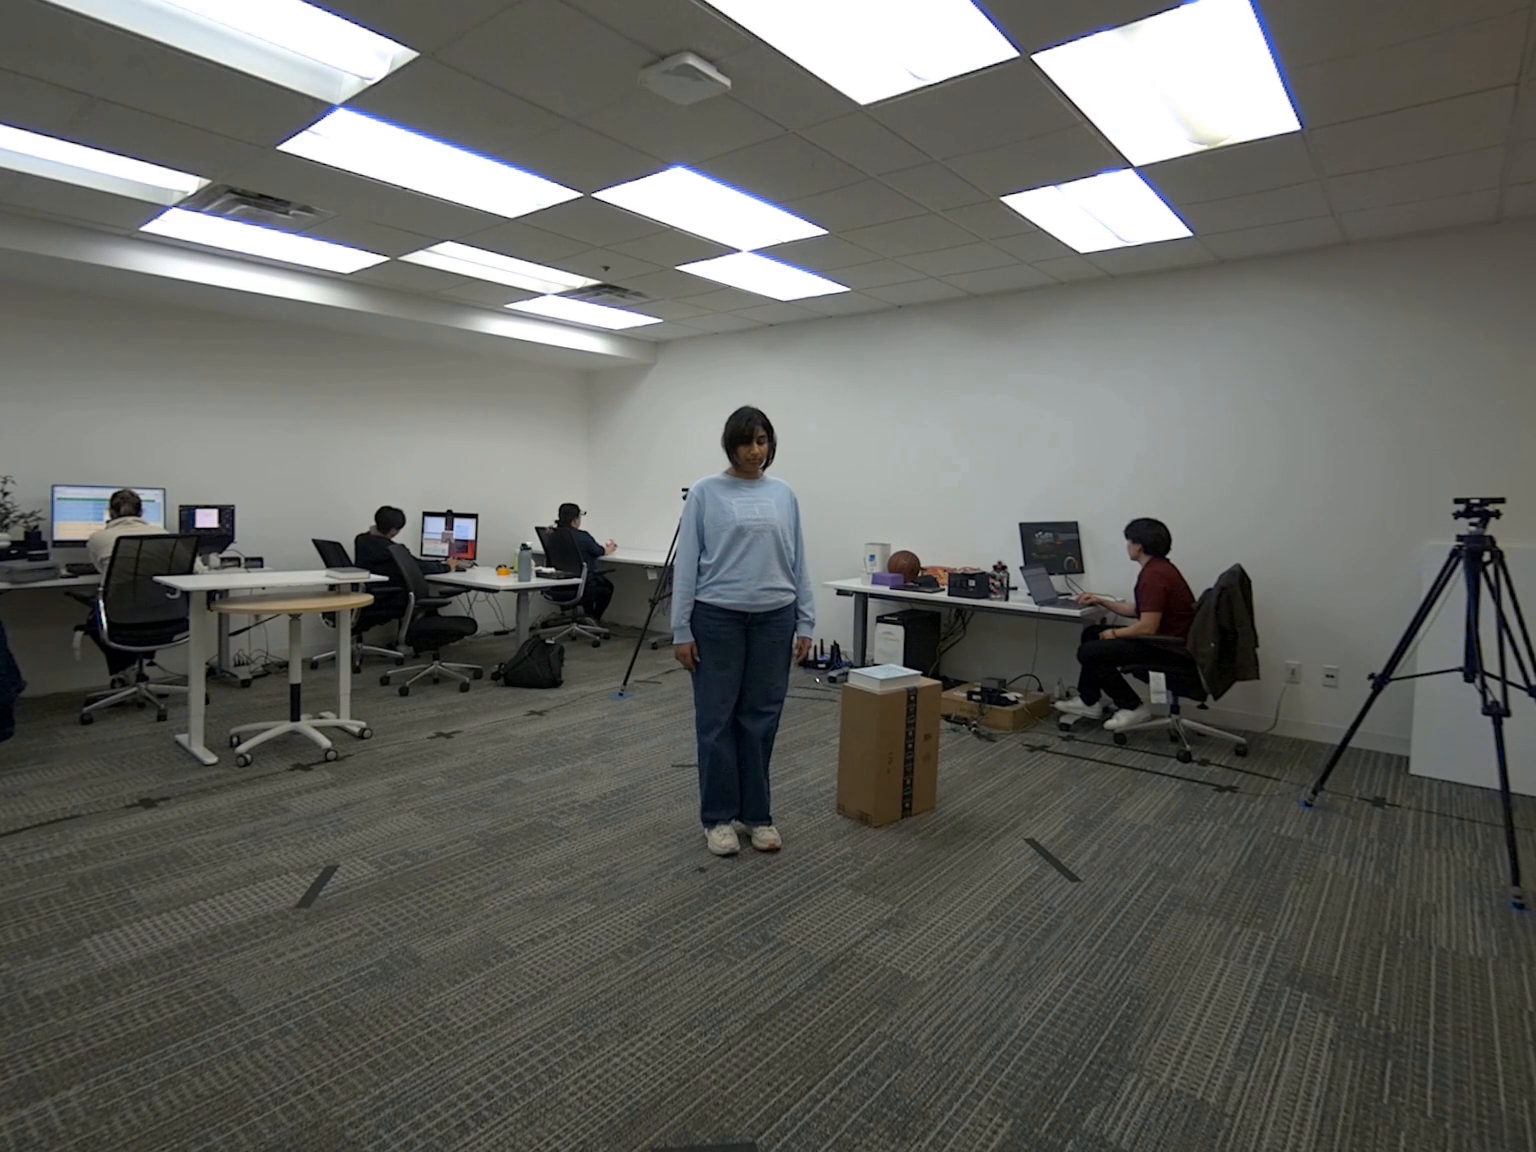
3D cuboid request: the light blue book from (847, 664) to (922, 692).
[{"bbox_3d":[0.495,0.432,3.673,0.253,0.059,0.198,-4,9,-38],"label":"light blue book"}]
